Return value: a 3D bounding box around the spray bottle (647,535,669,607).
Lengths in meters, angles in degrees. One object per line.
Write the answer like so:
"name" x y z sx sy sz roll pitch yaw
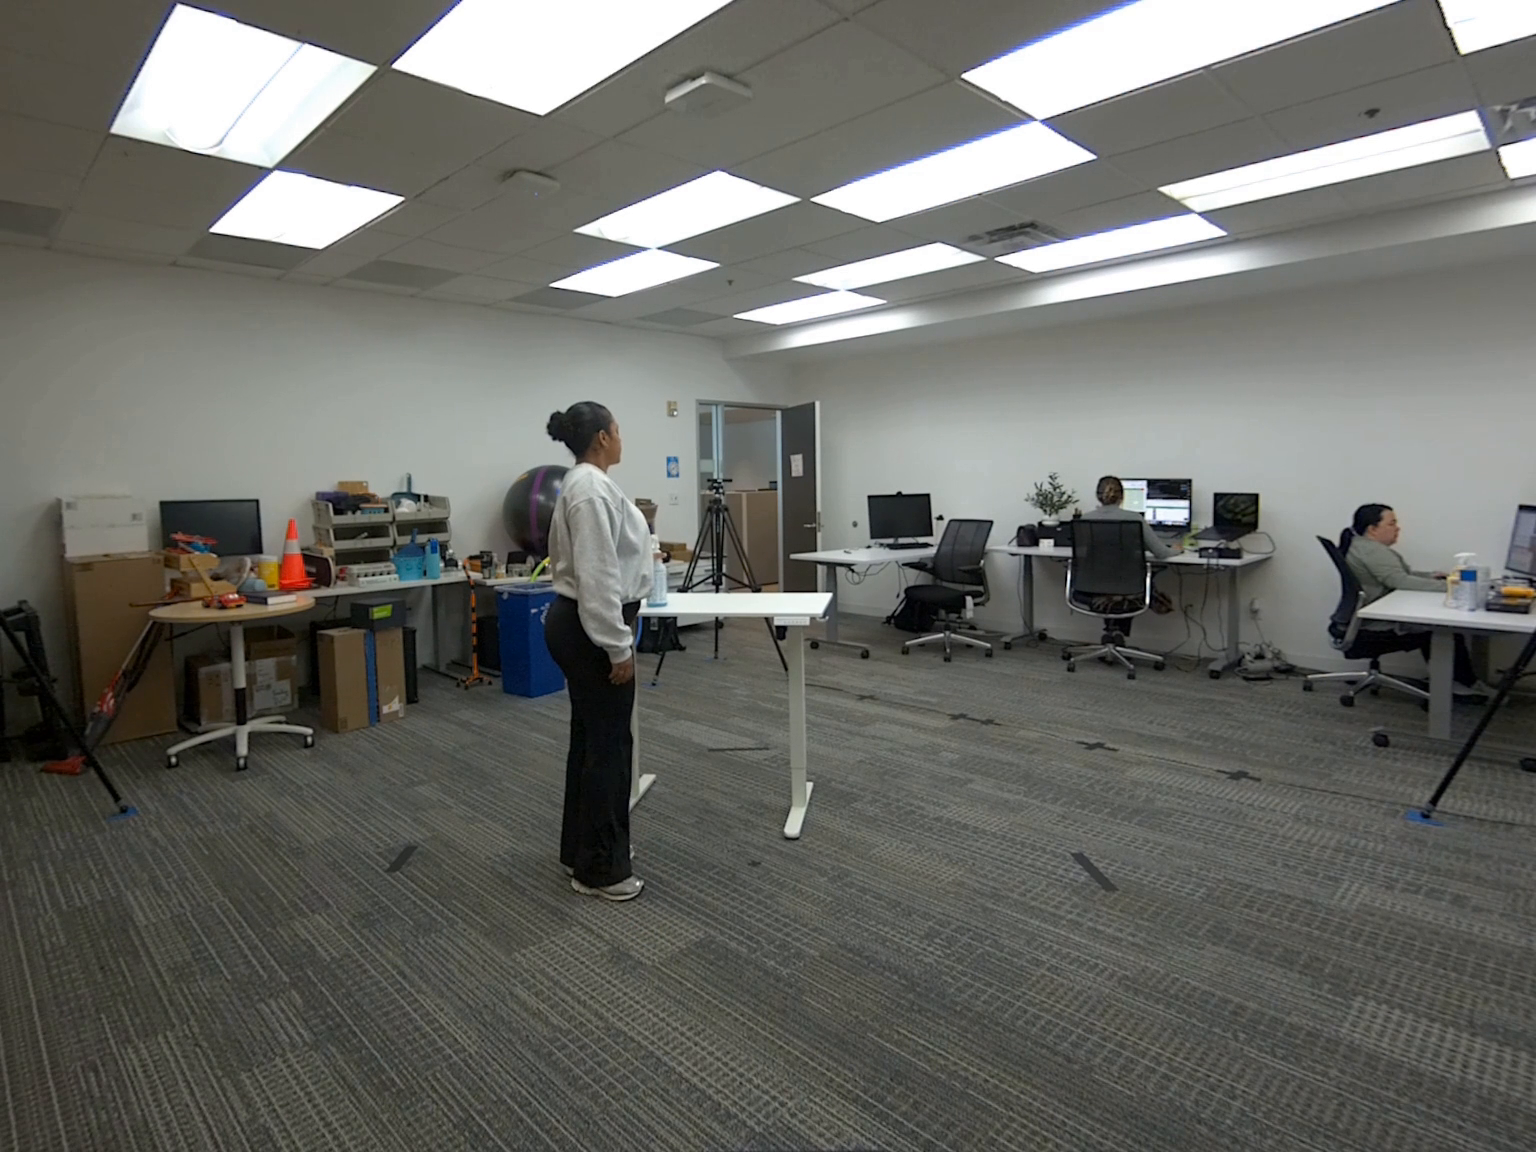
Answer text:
"spray bottle" -0.465 -0.024 3.532 0.089 0.296 0.088 1 6 30
